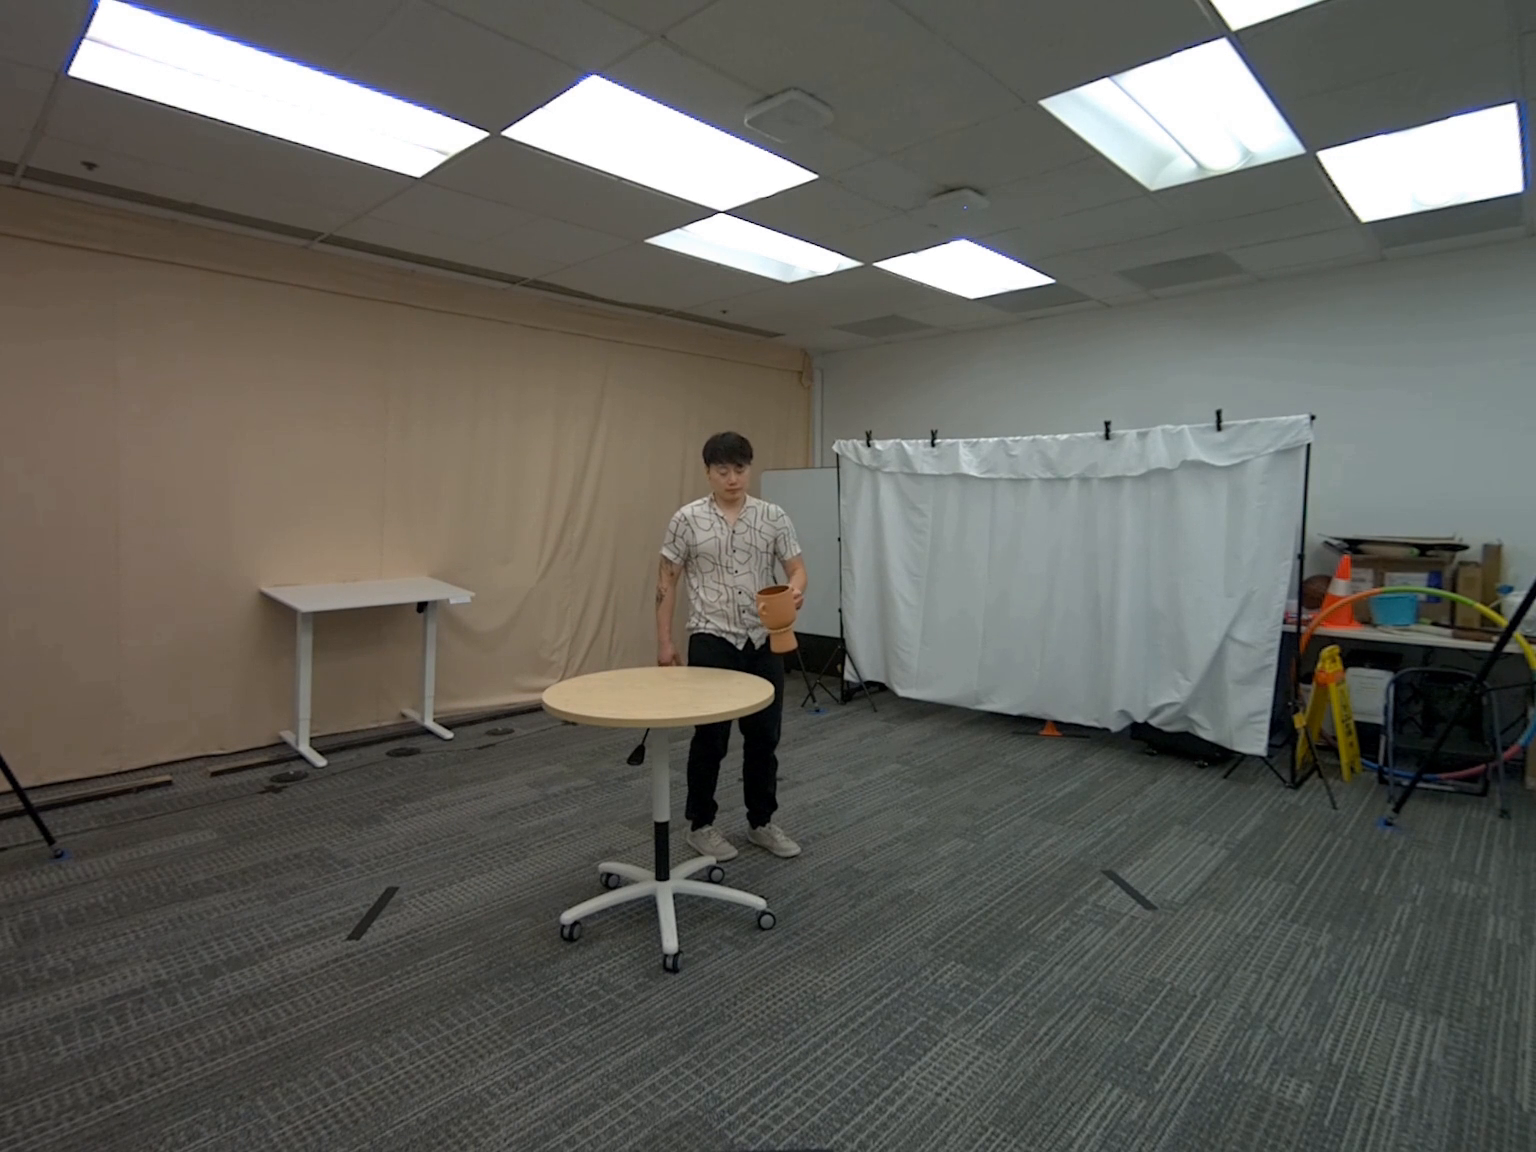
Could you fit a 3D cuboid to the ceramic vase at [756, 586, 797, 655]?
[{"bbox_3d":[0.042,0.154,3.041,0.157,0.218,0.137,-11,11,-11],"label":"ceramic vase"}]
